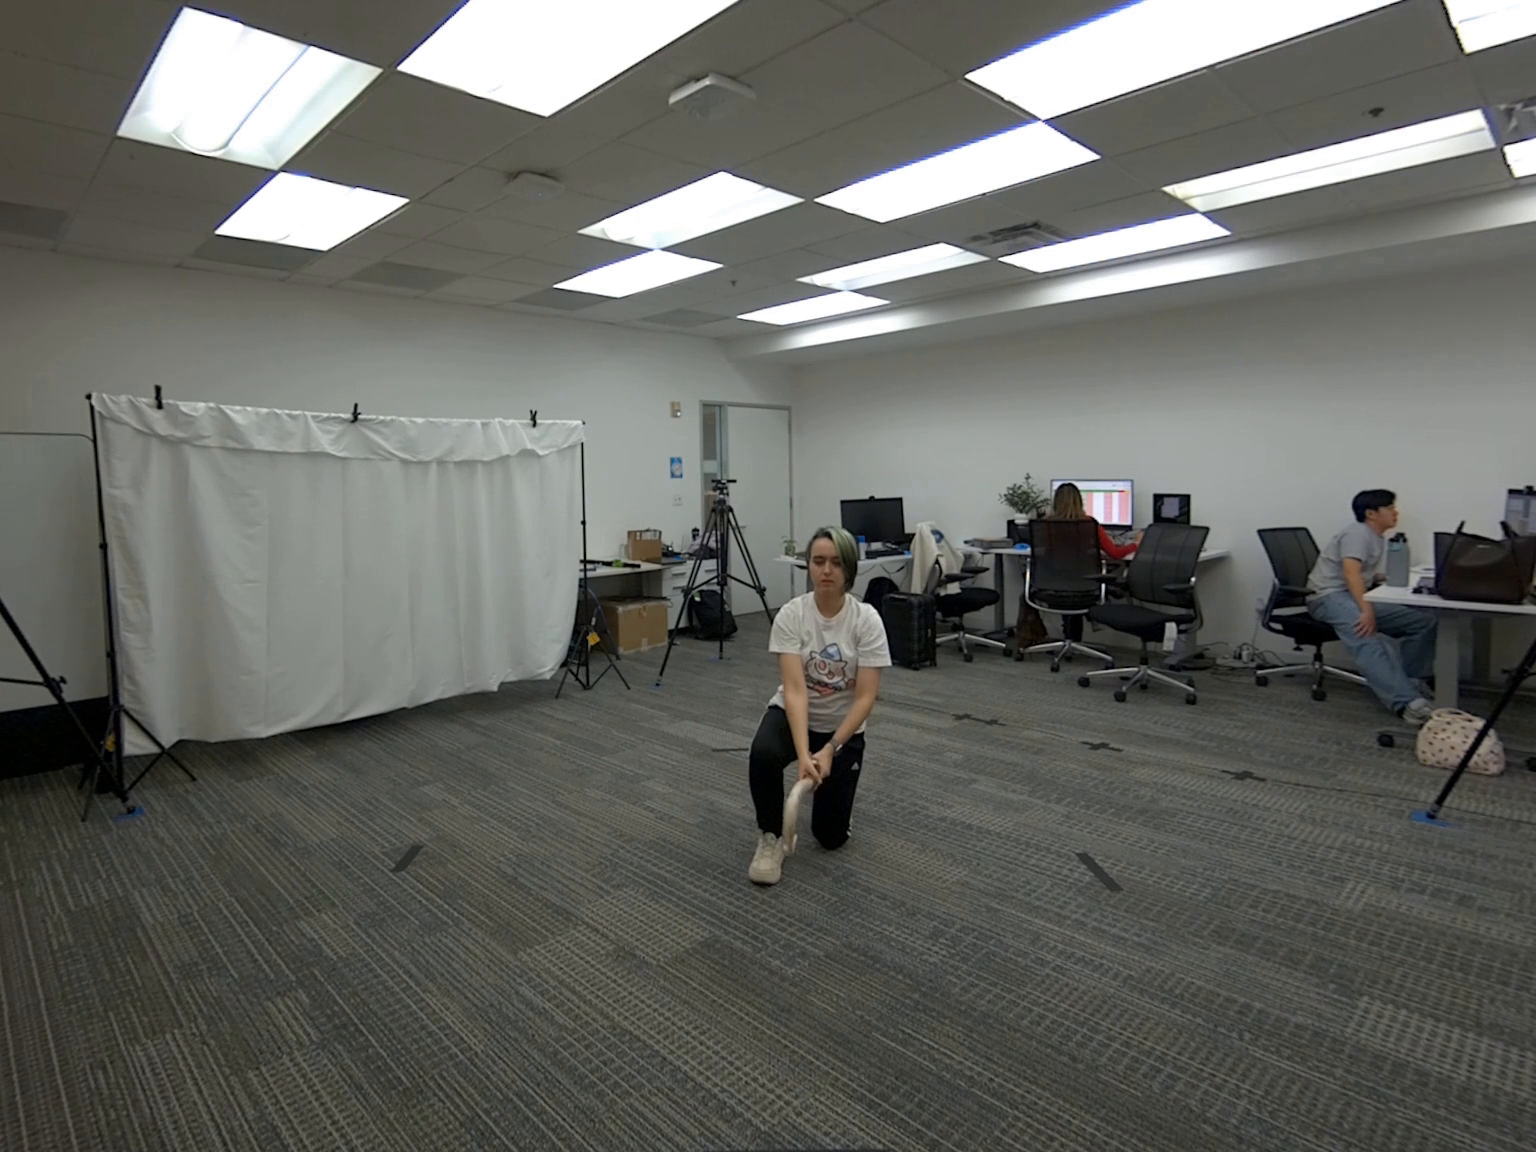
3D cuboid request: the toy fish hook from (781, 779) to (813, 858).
[{"bbox_3d":[0.104,0.704,2.704,0.049,0.223,0.500,14,7,12],"label":"toy fish hook"}]
